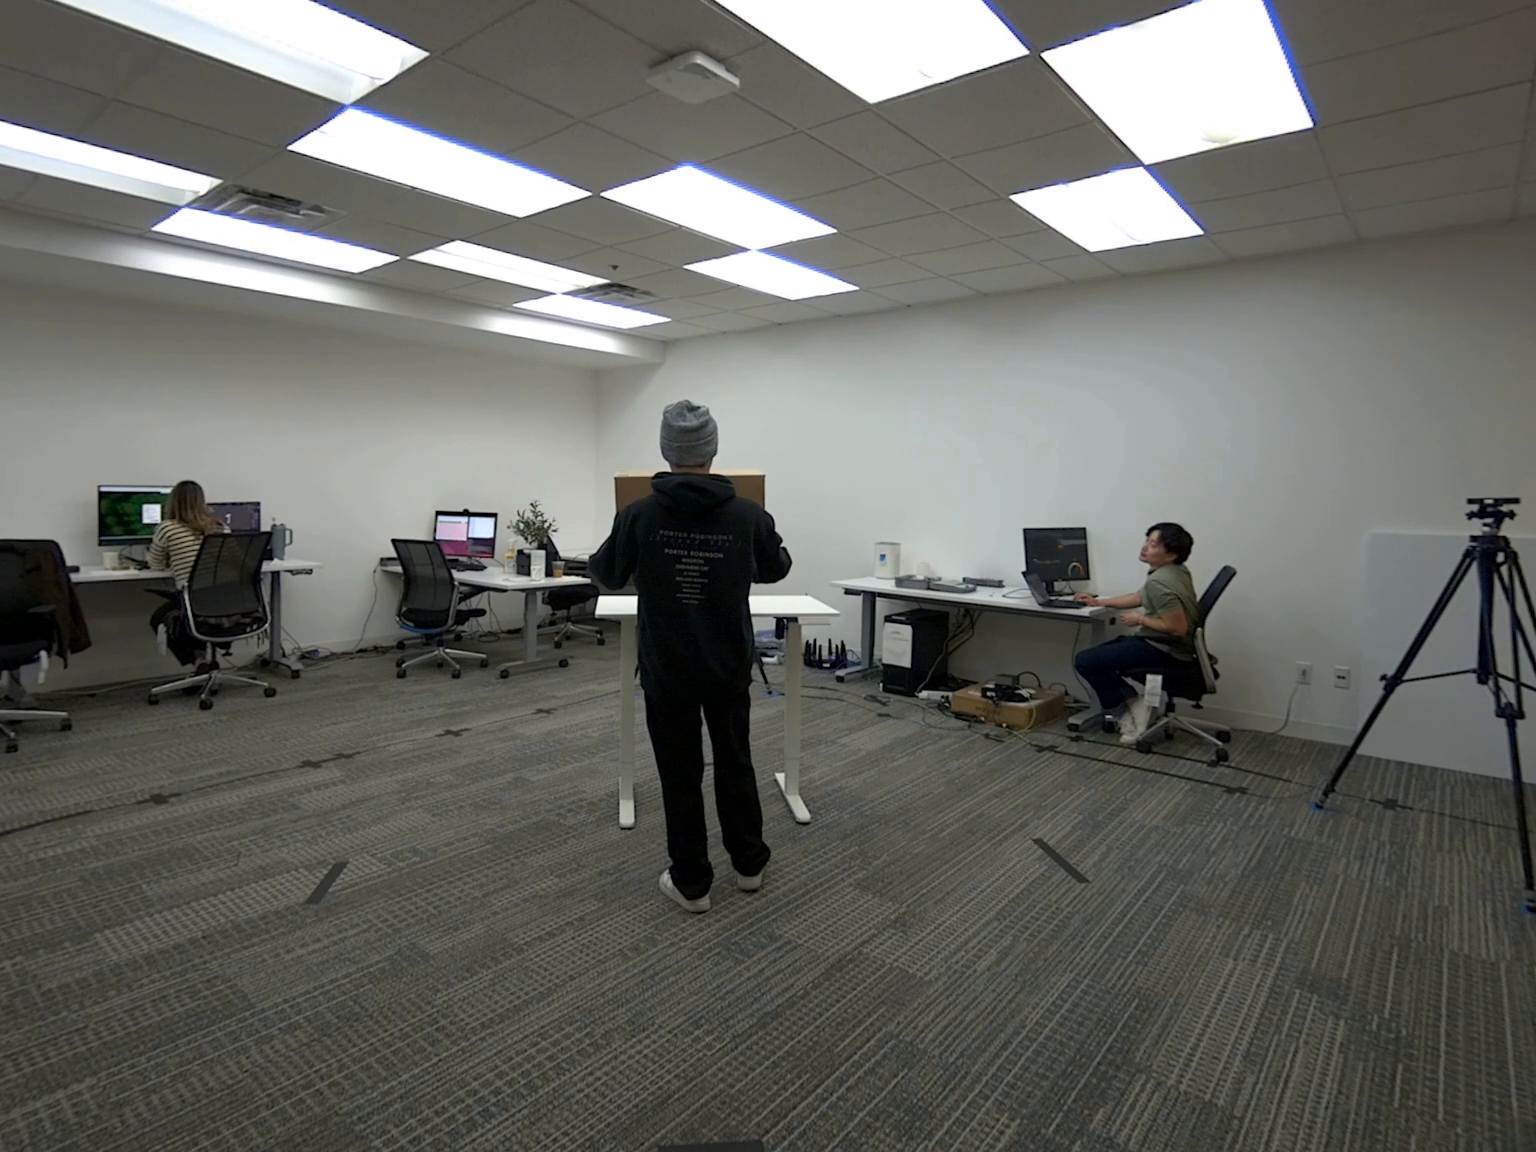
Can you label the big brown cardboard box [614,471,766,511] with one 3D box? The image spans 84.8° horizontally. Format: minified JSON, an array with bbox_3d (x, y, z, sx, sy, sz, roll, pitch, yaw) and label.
[{"bbox_3d":[-0.303,-0.194,3.290,0.586,0.414,0.236,-2,9,-5],"label":"big brown cardboard box"}]
